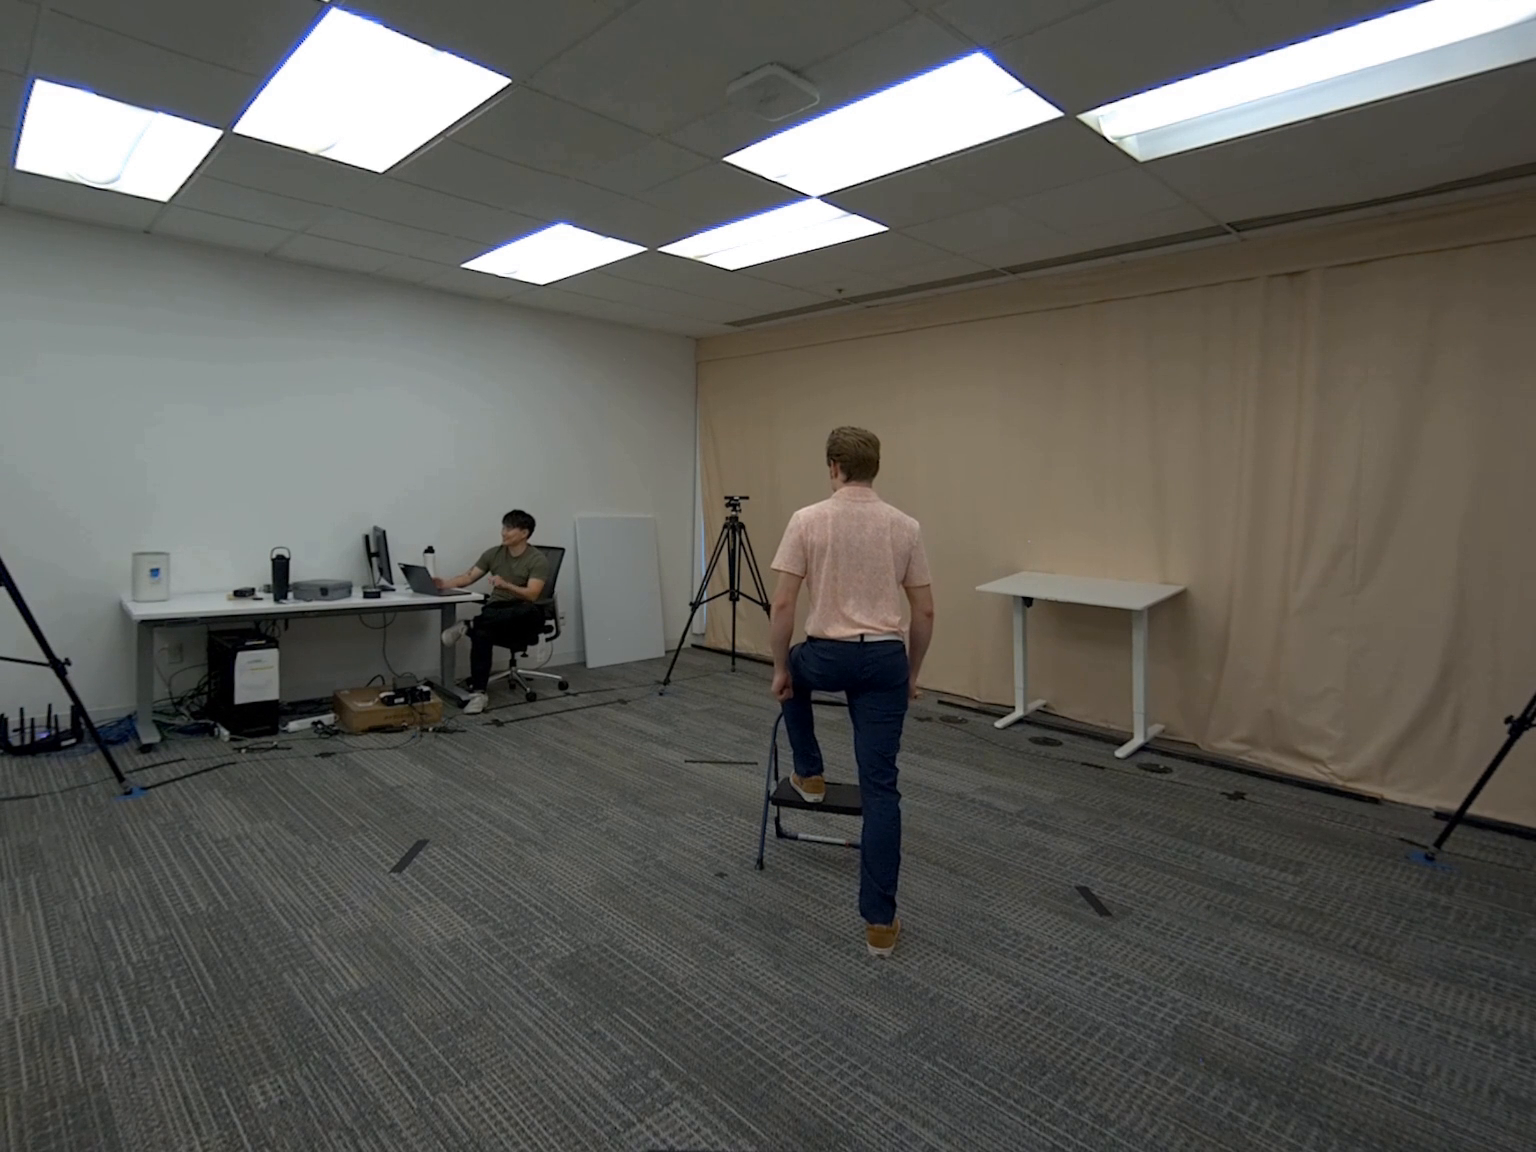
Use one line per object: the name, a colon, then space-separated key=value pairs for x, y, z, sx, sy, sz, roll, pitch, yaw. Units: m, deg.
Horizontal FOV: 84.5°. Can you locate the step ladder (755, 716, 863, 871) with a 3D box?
step ladder: x=0.199 y=0.797 z=3.253 sx=0.436 sy=0.605 sz=0.346 roll=3 pitch=3 yaw=15
